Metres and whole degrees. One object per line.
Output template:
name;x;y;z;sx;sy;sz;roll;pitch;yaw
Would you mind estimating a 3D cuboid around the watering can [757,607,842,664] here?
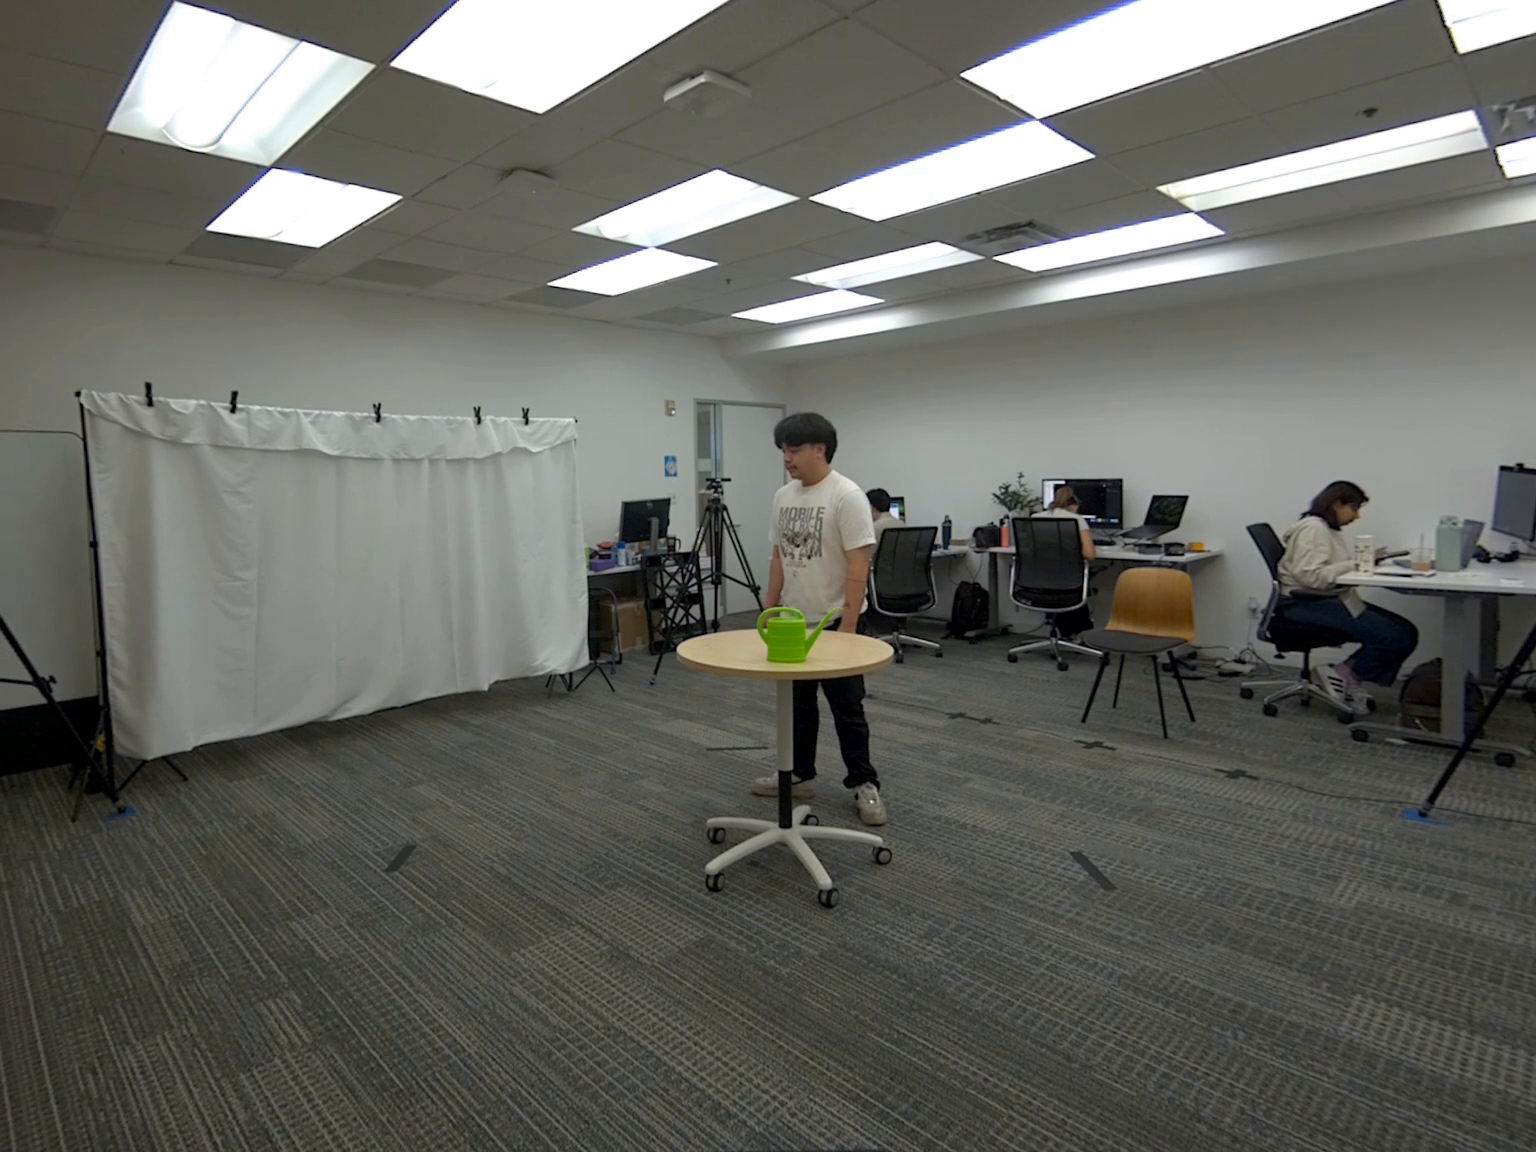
watering can;0.113;0.195;2.811;0.284;0.176;0.096;1;4;23
